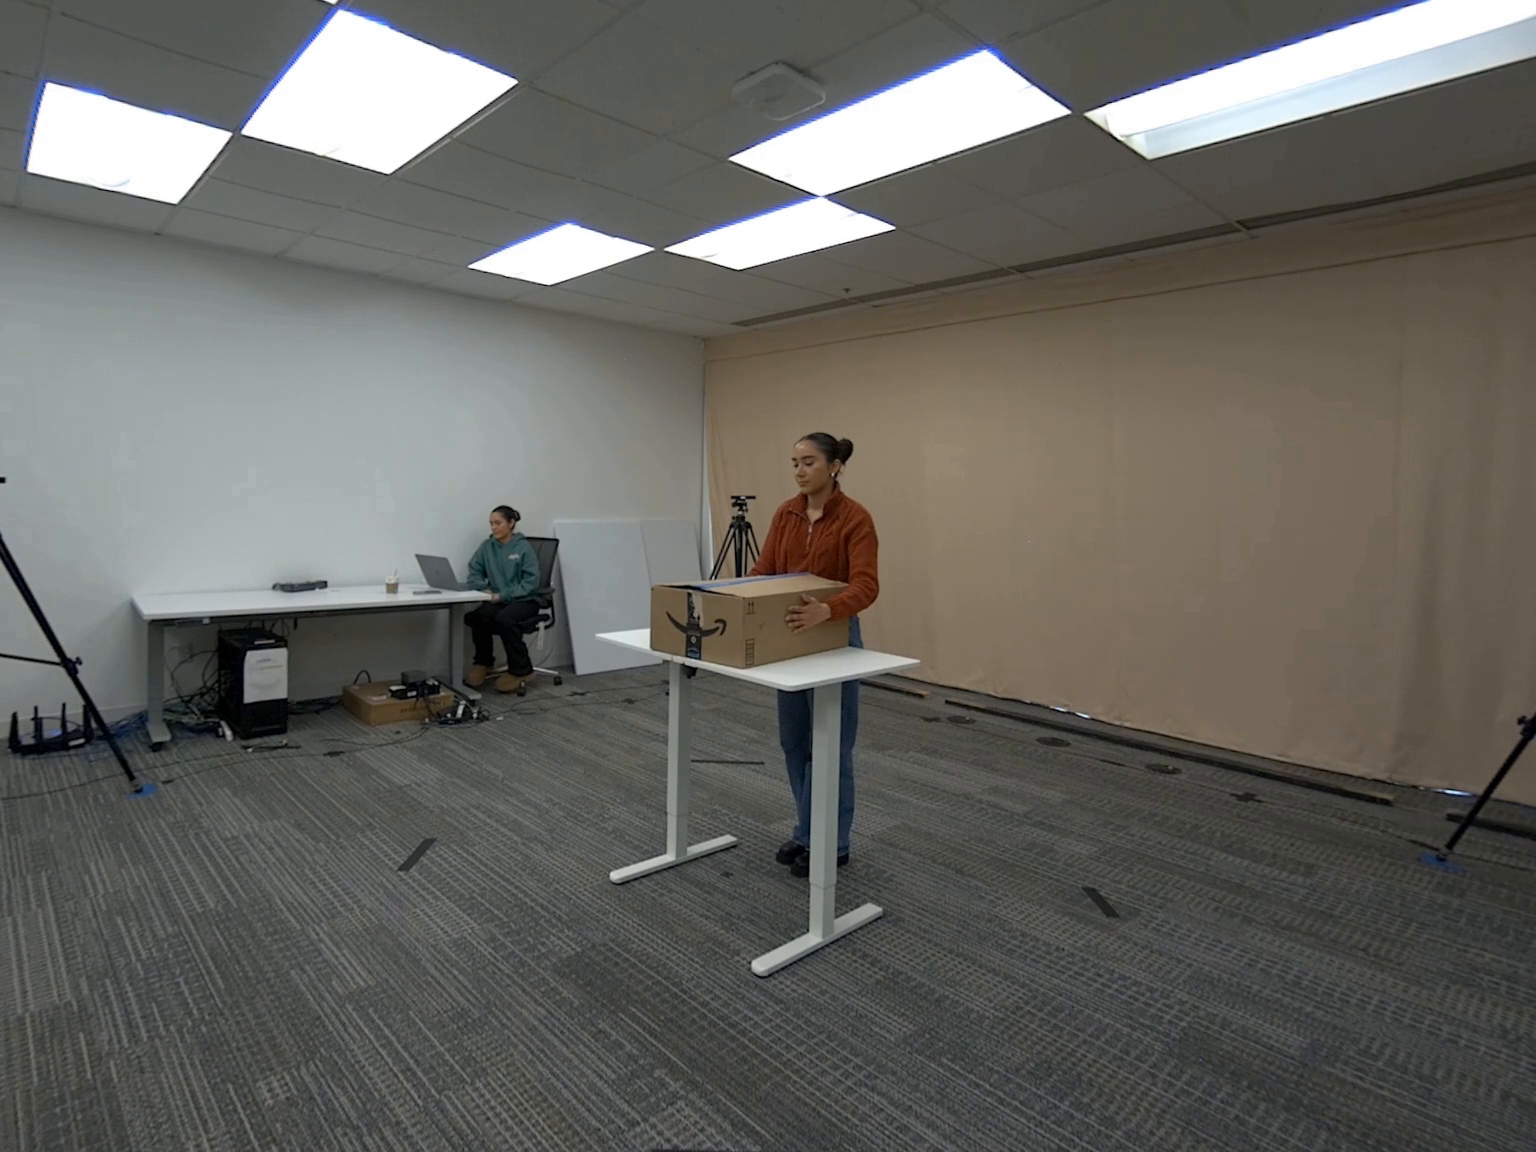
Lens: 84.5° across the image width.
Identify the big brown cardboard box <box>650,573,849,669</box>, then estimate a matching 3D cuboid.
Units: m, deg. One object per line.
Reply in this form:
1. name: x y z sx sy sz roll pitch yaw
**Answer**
1. big brown cardboard box: -0.056 0.137 2.849 0.428 0.232 0.576 6 8 40
